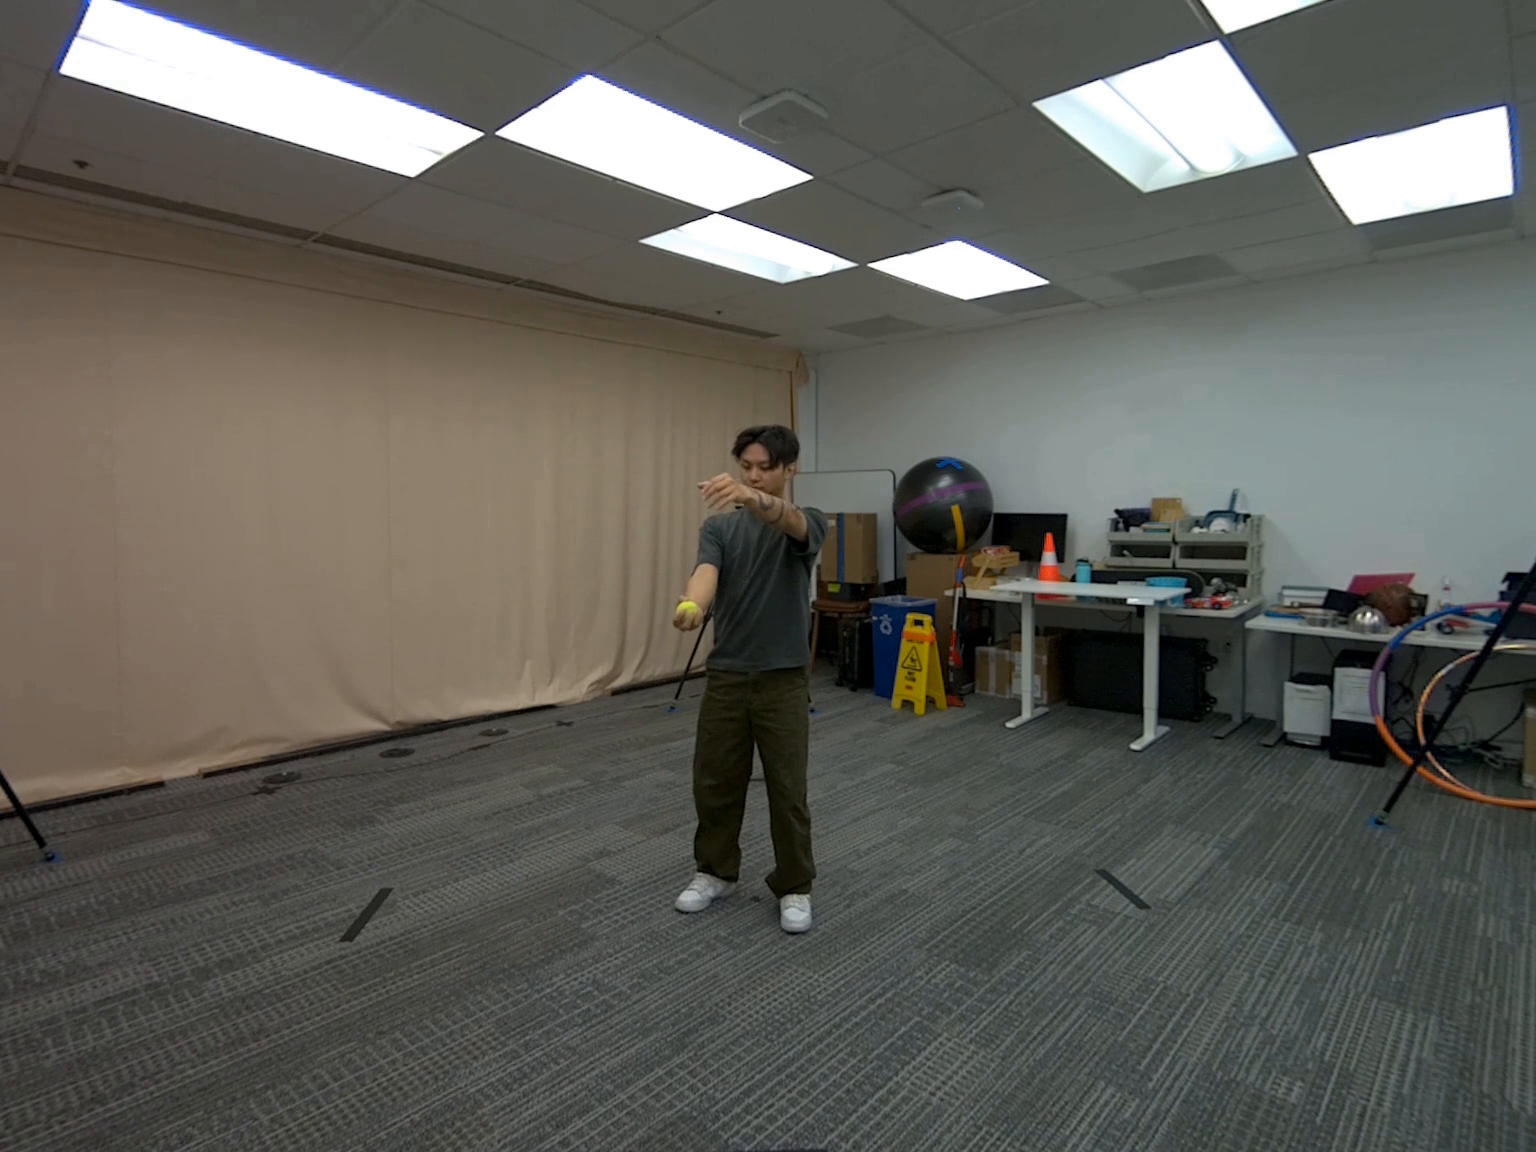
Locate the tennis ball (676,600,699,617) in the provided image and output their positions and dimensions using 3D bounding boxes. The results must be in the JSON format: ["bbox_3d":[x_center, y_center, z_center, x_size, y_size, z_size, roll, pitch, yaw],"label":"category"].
[{"bbox_3d":[-0.236,0.092,2.475,0.066,0.066,0.067,0,4,-2],"label":"tennis ball"}]
